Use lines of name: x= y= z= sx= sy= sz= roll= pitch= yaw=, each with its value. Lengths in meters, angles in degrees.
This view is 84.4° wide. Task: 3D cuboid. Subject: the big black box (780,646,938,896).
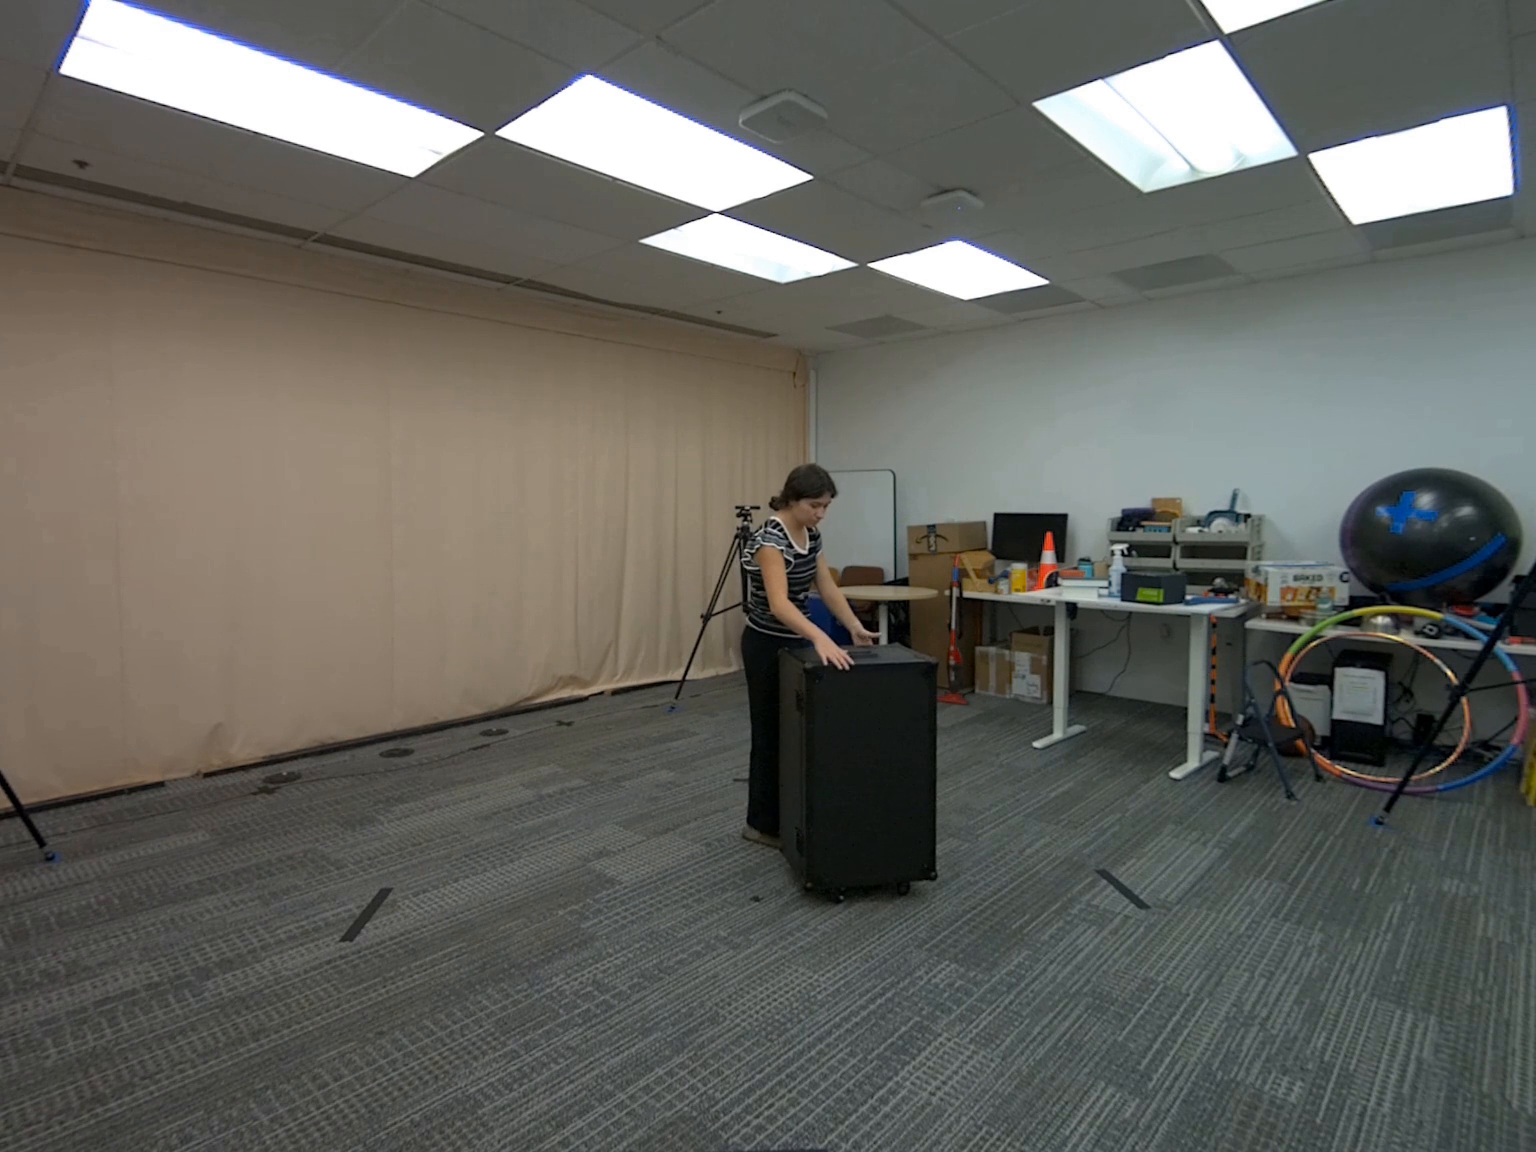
big black box: x=0.316 y=0.710 z=3.094 sx=0.517 sy=0.860 sz=0.400 roll=-2 pitch=3 yaw=-8
